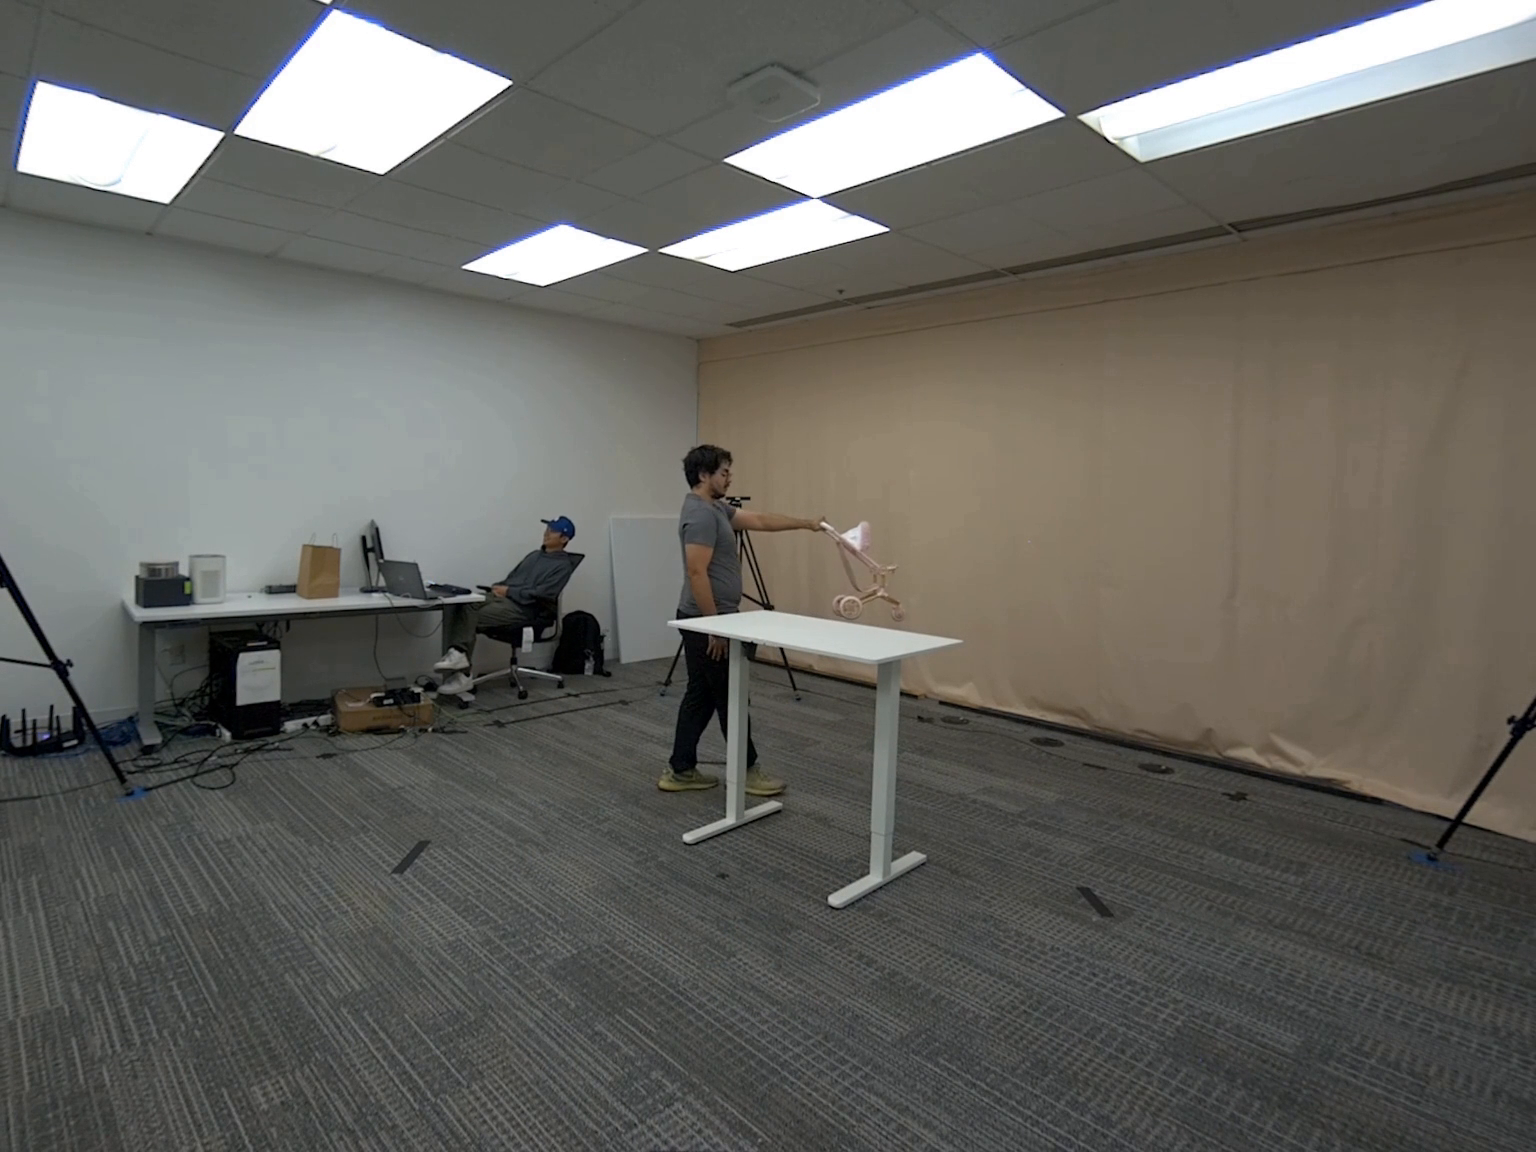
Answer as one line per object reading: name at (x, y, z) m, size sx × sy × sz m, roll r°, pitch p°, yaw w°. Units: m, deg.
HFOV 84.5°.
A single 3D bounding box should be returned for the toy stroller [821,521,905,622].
toy stroller at (0.450, -0.022, 4.071) m, size 0.342 × 0.536 × 0.280 m, roll -9°, pitch -1°, yaw 3°
